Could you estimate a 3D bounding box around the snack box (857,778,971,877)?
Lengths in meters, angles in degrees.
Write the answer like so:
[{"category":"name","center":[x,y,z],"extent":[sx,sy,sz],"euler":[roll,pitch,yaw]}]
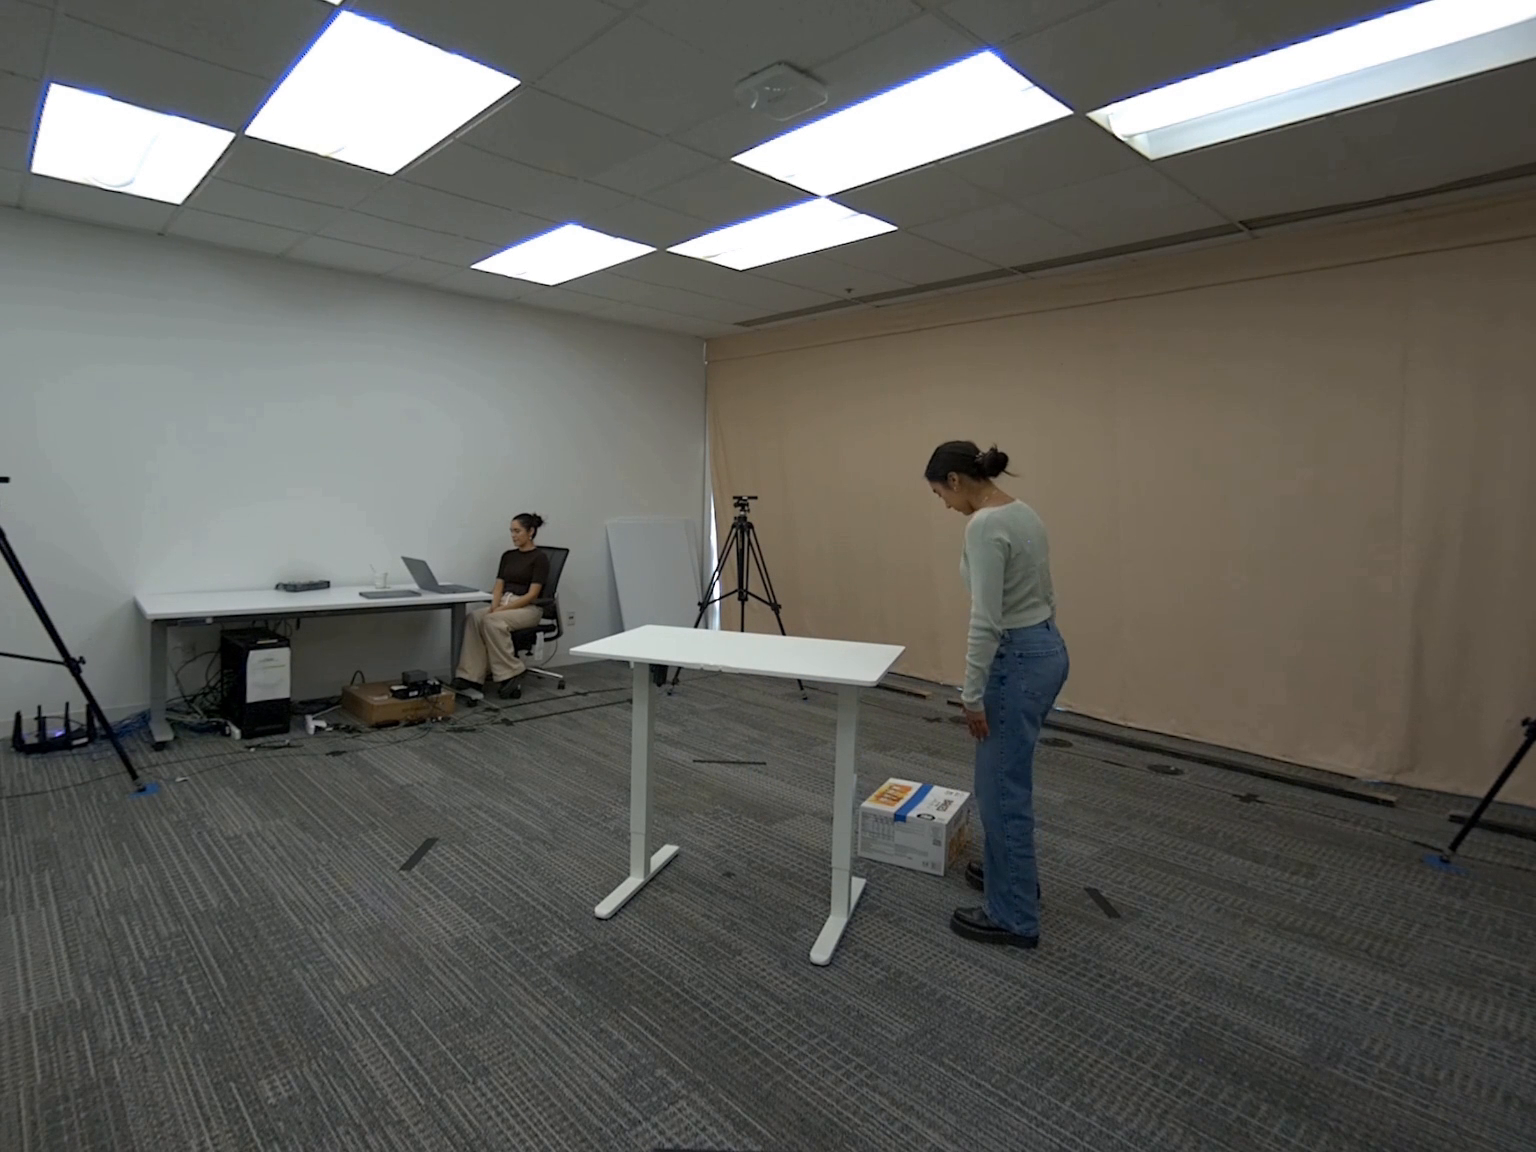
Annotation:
[{"category":"snack box","center":[0.586,0.995,3.376],"extent":[0.347,0.205,0.398],"euler":[4,5,27]}]
